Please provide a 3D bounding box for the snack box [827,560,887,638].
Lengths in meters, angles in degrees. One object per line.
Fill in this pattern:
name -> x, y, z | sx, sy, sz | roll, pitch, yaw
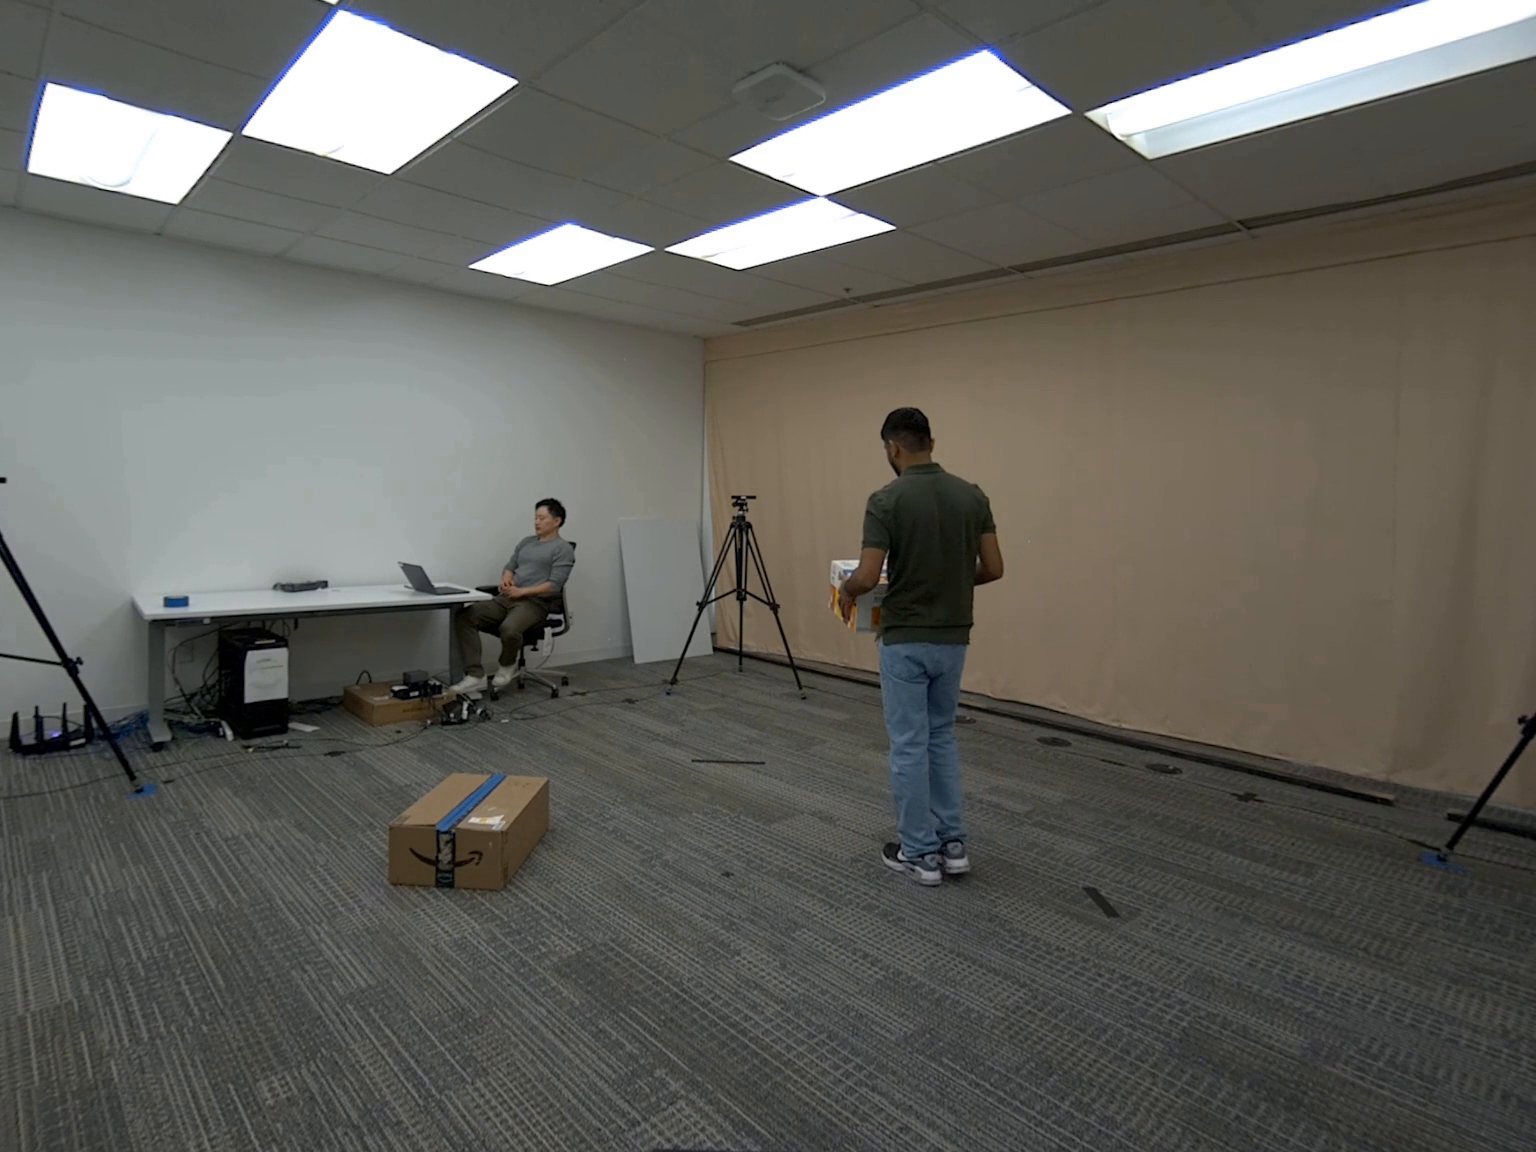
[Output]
snack box -> 0.488, 0.080, 3.388 | 0.401, 0.203, 0.347 | -1, 16, -12
